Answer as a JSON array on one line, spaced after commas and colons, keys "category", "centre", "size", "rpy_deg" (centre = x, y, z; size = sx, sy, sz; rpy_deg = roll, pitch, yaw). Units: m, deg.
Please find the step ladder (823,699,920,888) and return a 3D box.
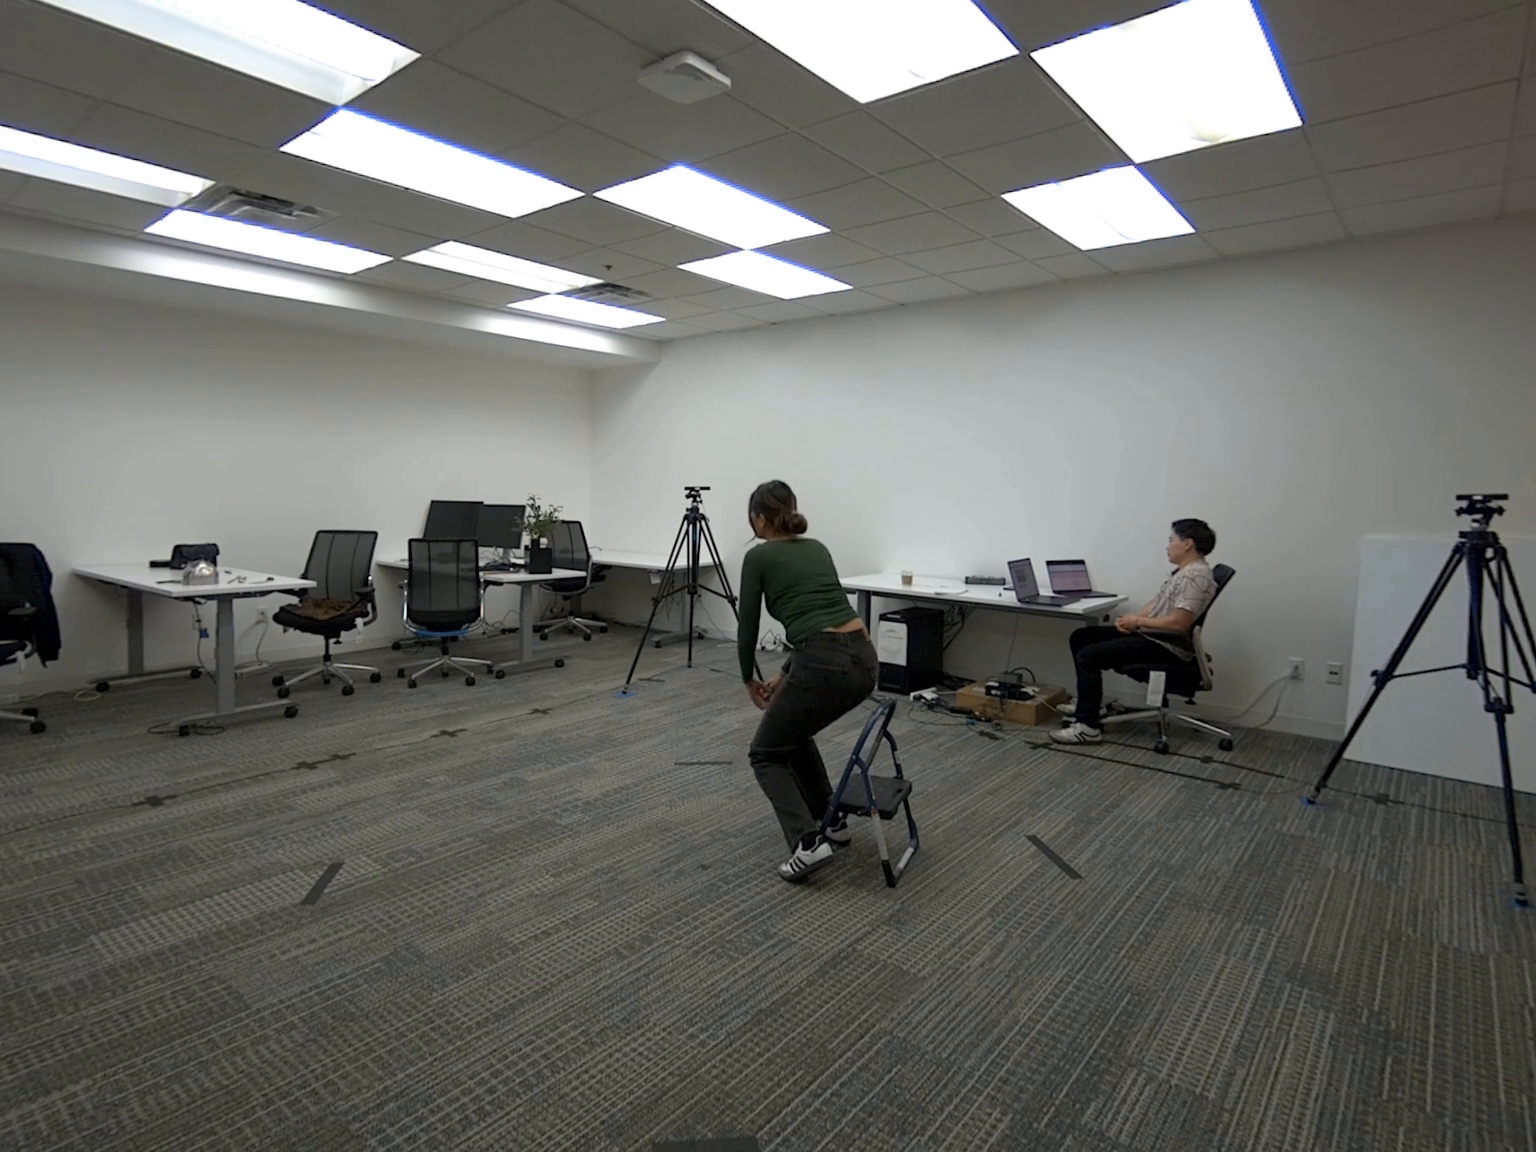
[{"category": "step ladder", "centre": [0.360, 0.764, 3.215], "size": [0.358, 0.604, 0.422], "rpy_deg": [2, 4, 23]}]
